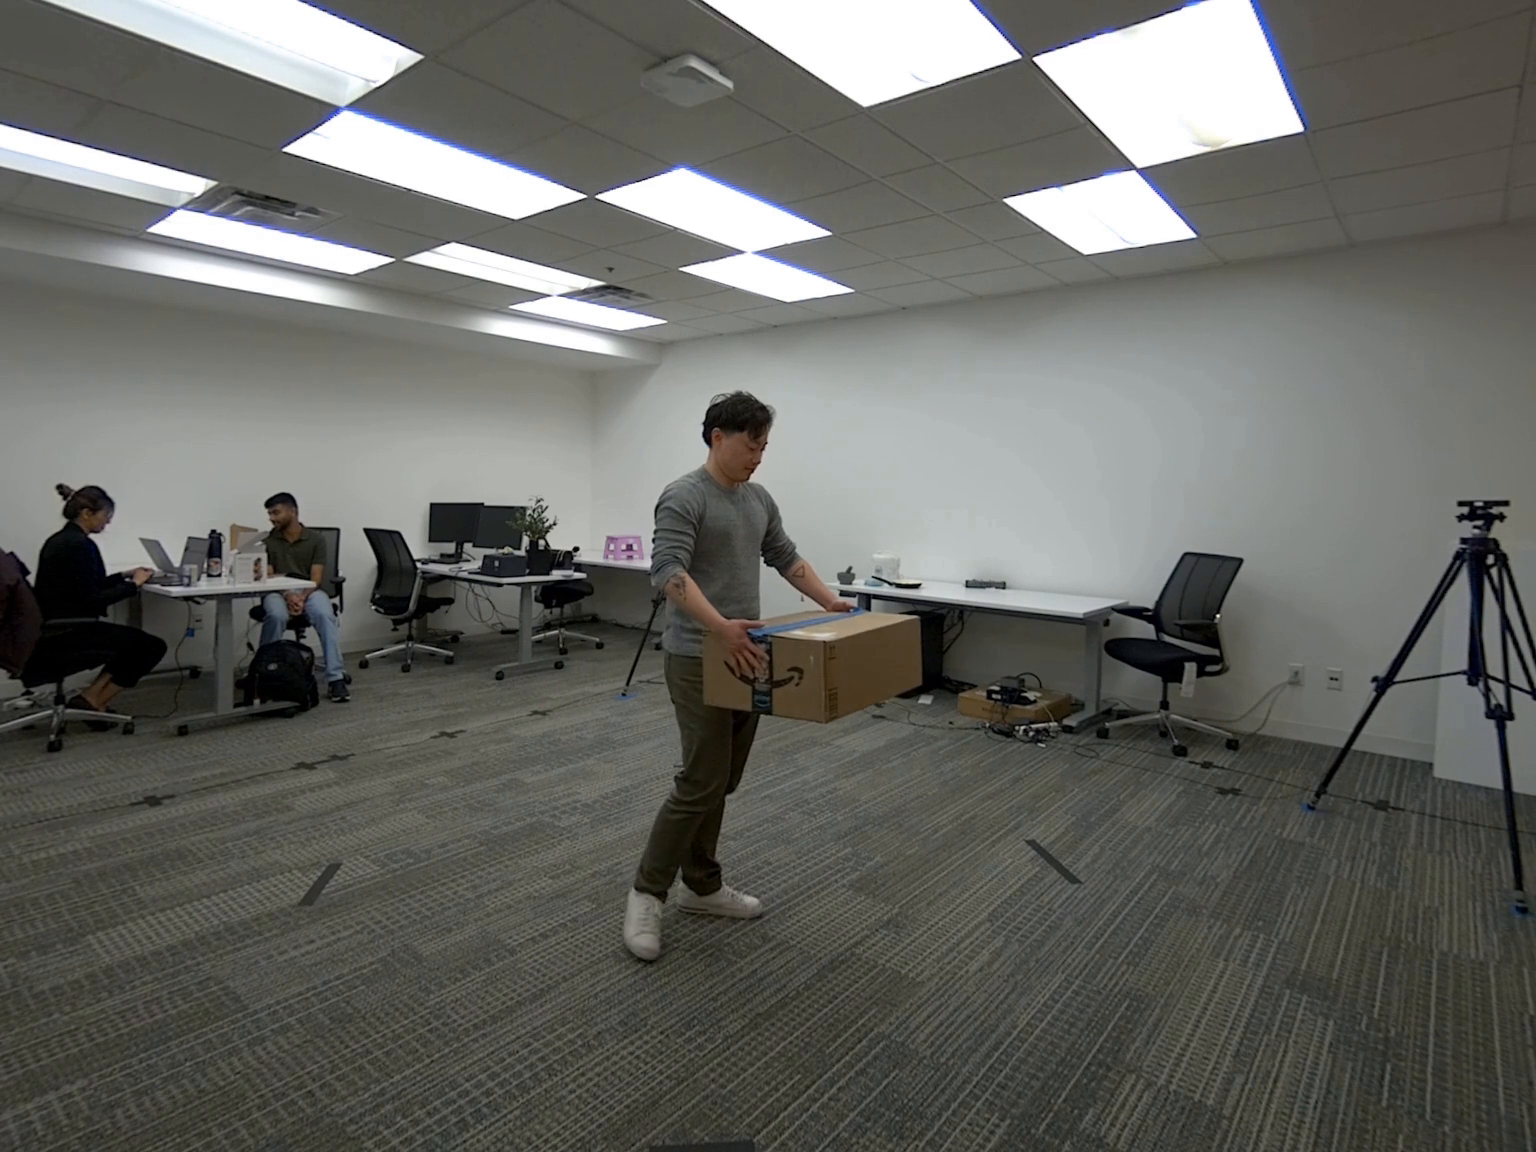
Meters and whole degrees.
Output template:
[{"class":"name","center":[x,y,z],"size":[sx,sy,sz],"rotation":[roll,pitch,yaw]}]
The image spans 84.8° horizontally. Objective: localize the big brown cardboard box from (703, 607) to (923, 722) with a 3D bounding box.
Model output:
[{"class":"big brown cardboard box","center":[0.136,0.239,2.522],"size":[0.430,0.233,0.572],"rotation":[1,3,37]}]
